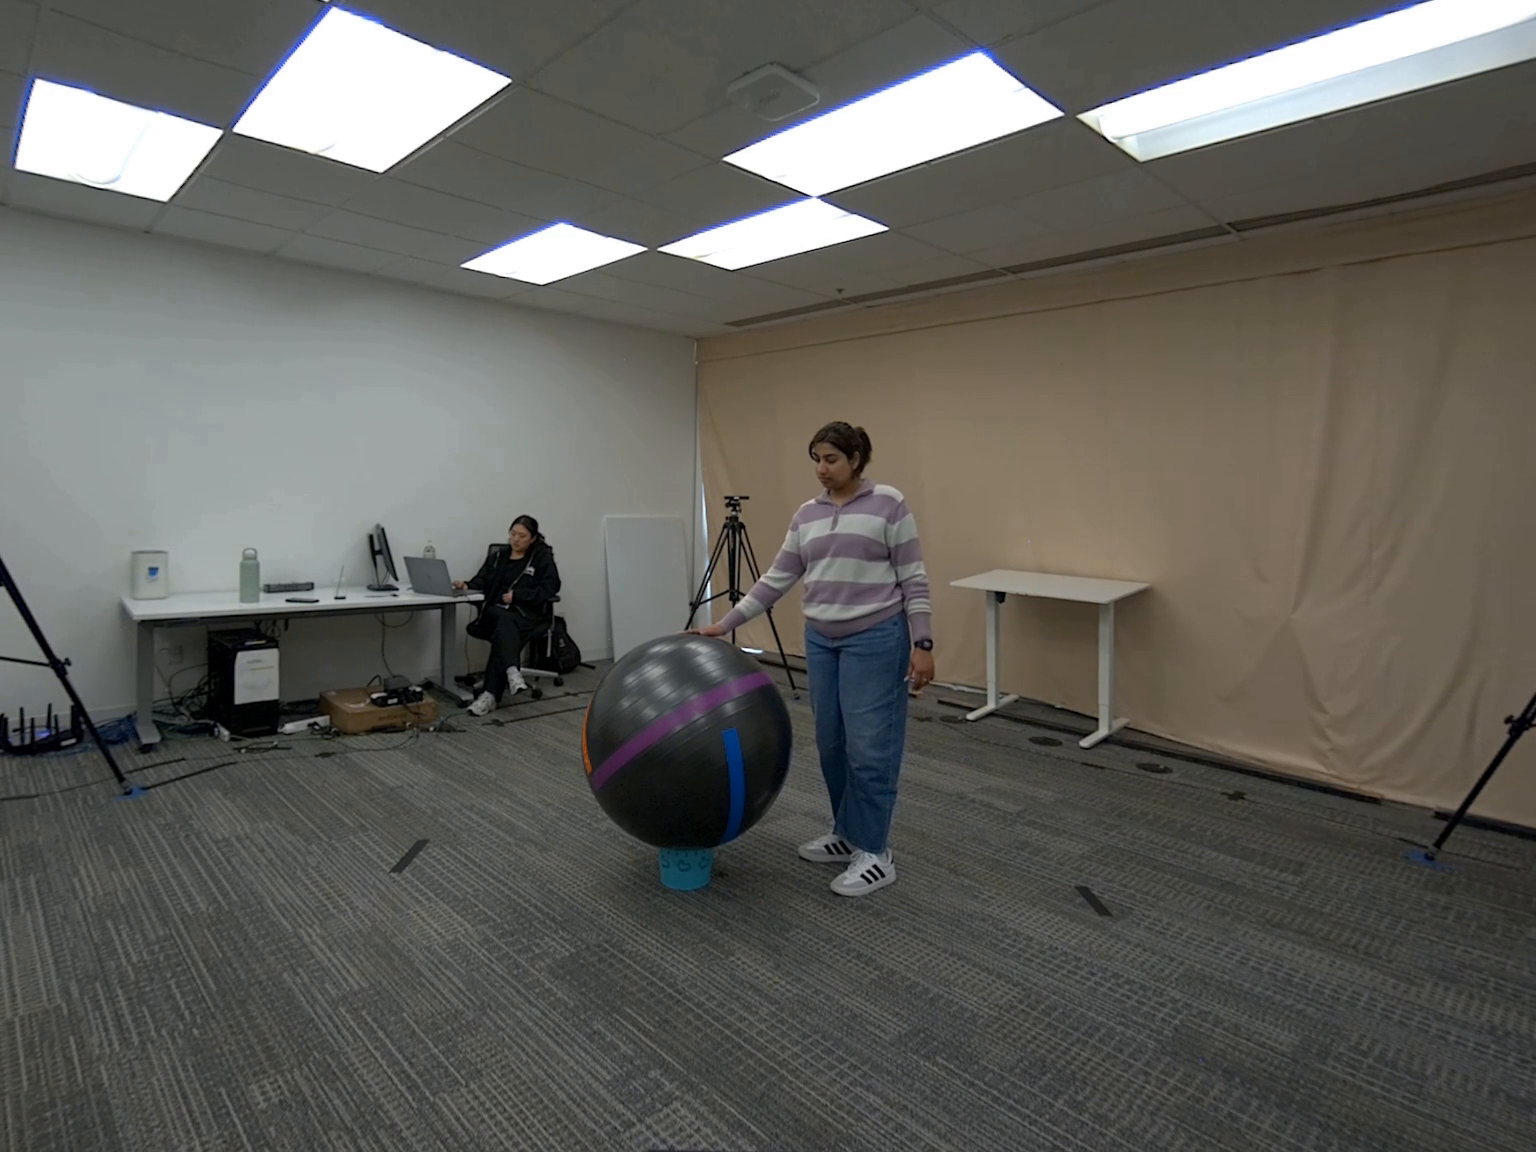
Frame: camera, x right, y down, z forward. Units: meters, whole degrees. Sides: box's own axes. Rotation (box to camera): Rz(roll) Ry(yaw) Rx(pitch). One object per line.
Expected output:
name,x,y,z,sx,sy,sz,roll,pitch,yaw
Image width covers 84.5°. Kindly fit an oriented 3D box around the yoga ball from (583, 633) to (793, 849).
yoga ball,-0.299,0.593,3.041,0.757,0.756,0.761,1,4,-1
